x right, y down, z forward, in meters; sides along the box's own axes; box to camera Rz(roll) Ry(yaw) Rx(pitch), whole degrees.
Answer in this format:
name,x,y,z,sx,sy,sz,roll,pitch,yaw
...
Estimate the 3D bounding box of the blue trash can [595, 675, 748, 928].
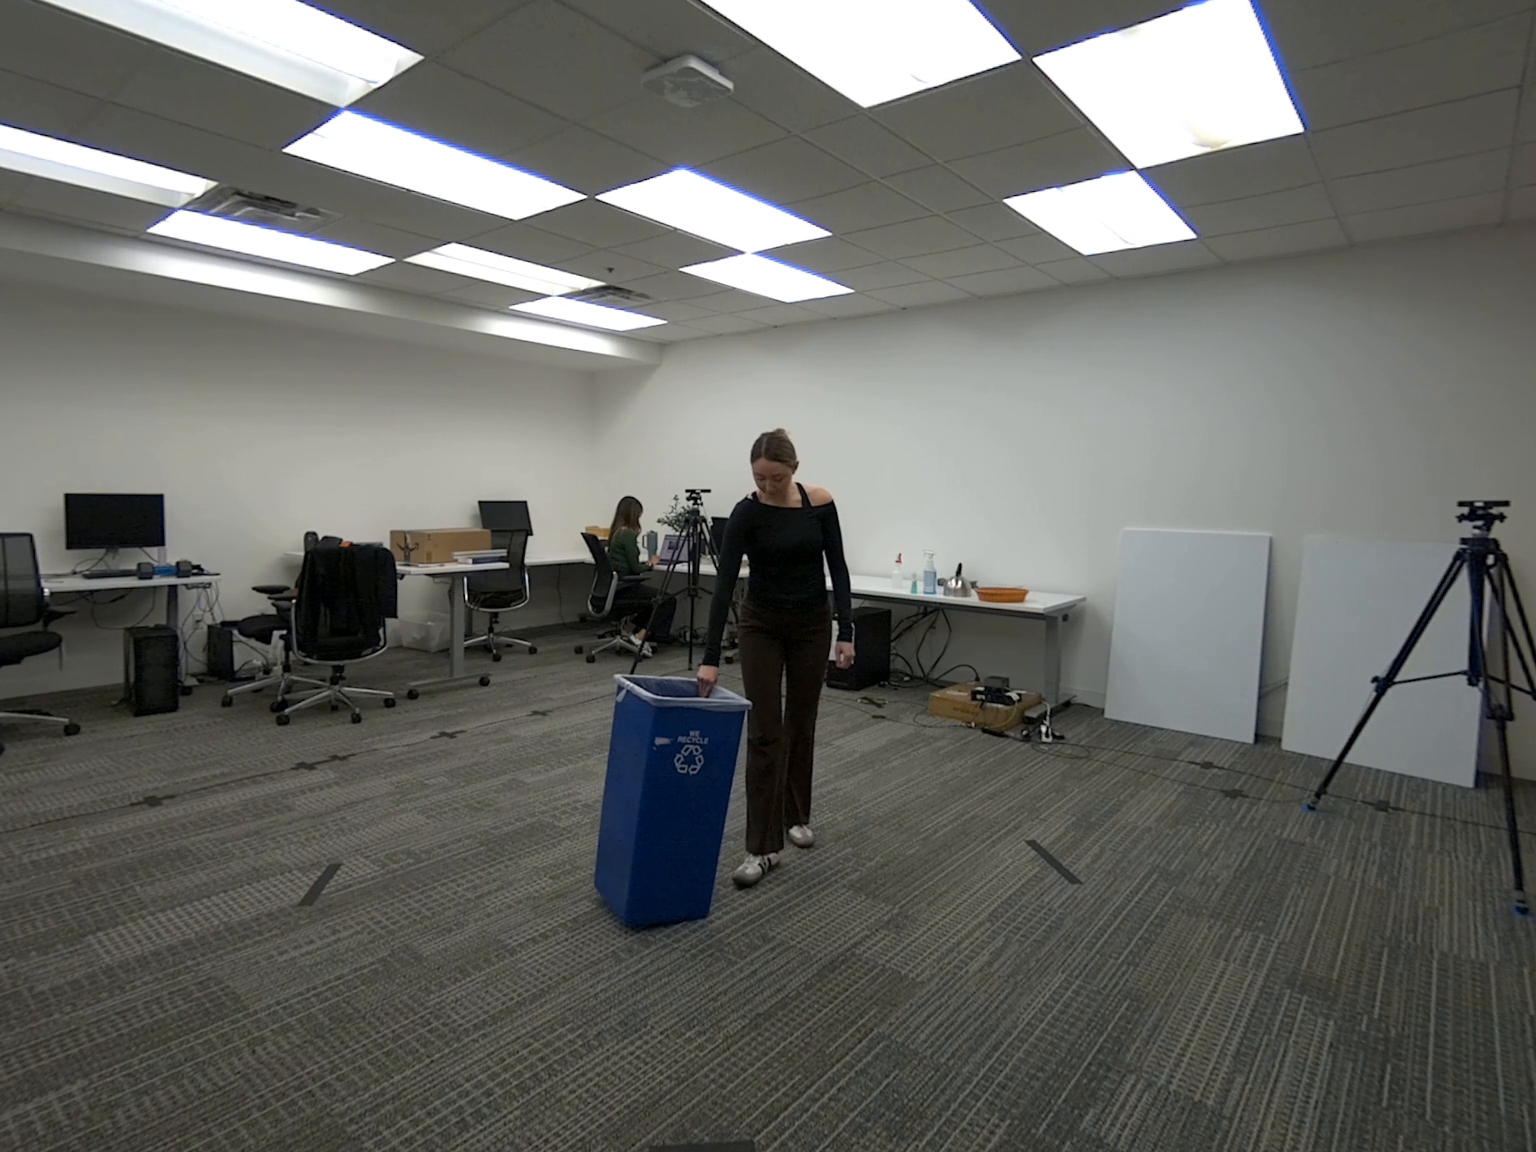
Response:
name,x,y,z,sx,sy,sz,roll,pitch,yaw
blue trash can,-0.345,0.722,2.837,0.362,0.714,0.390,8,0,-31
